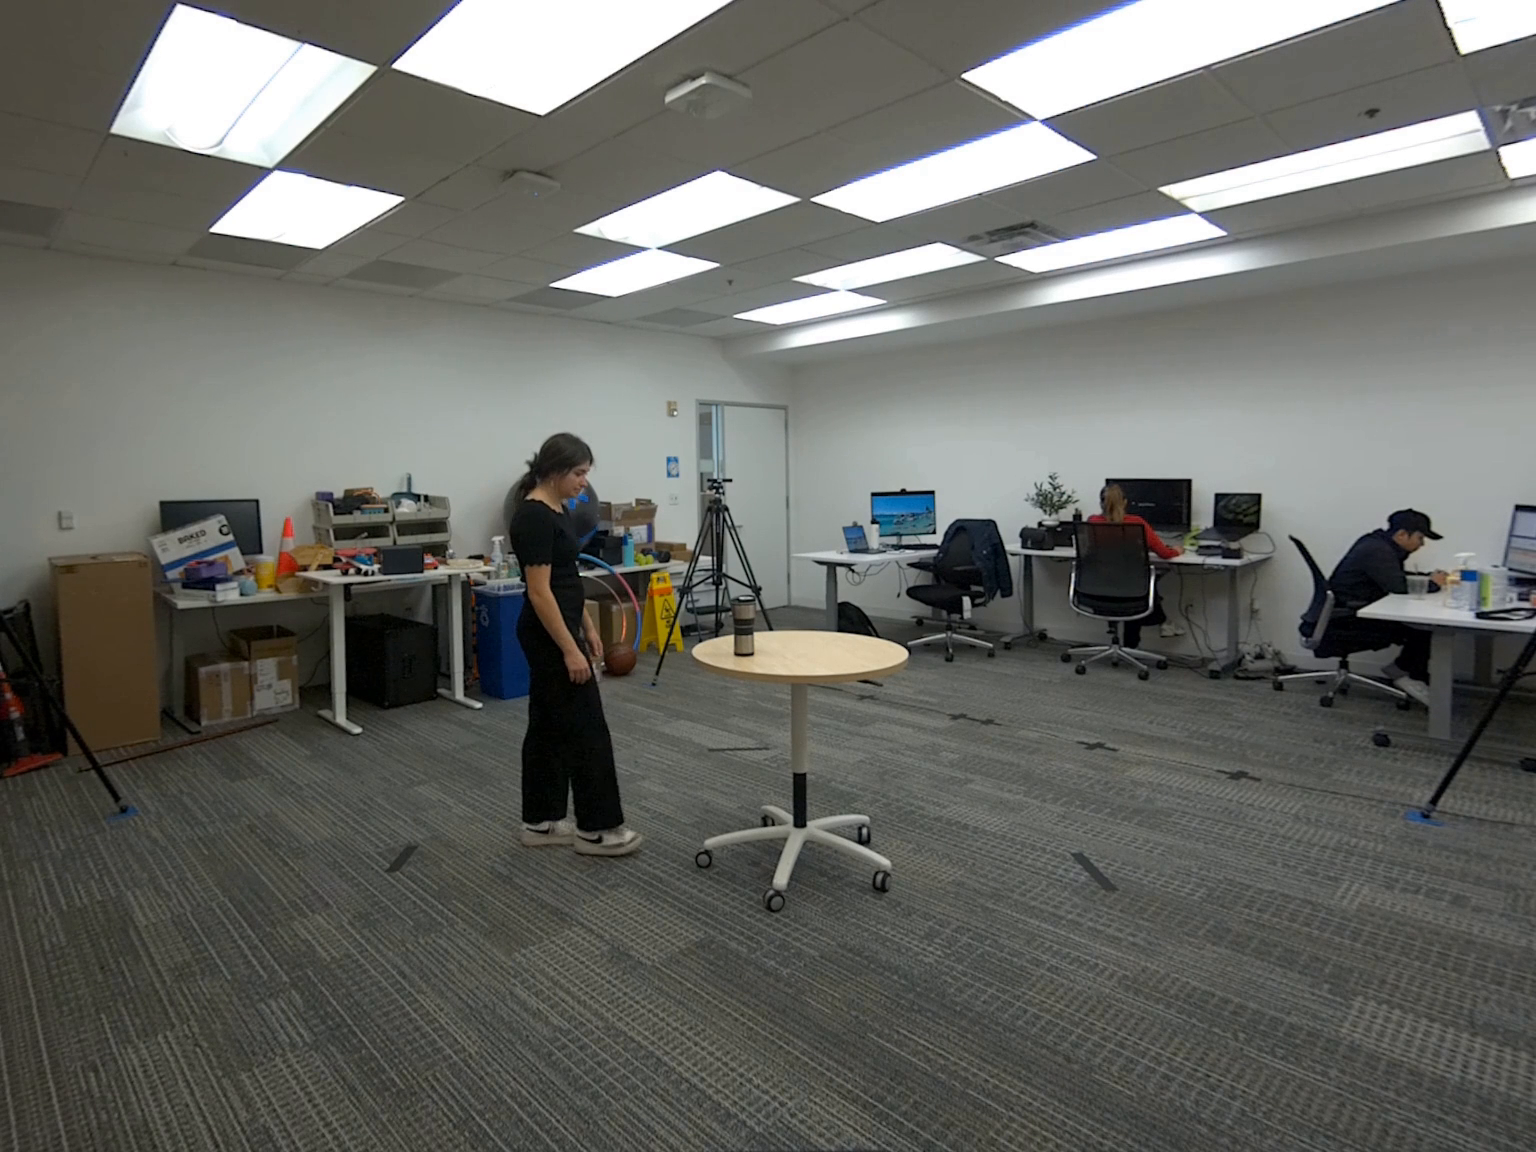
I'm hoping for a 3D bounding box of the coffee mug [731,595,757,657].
[{"bbox_3d":[-0.075,0.175,2.988,0.090,0.202,0.119,-3,6,42],"label":"coffee mug"}]
